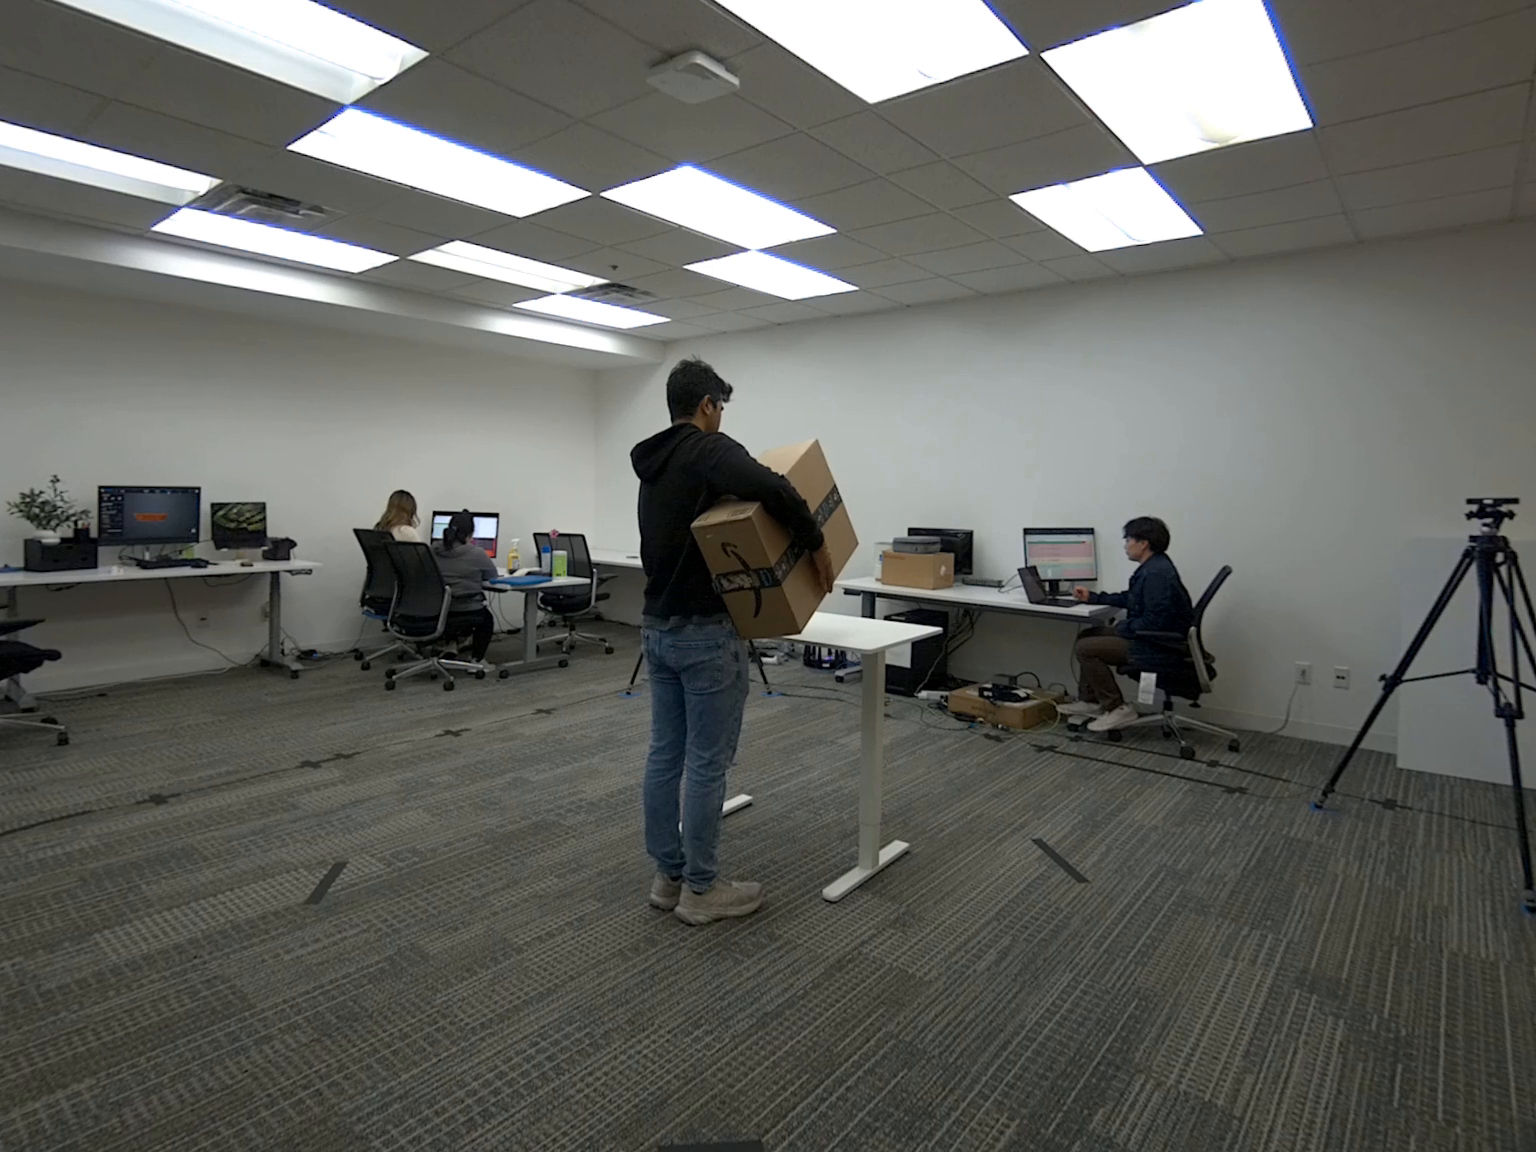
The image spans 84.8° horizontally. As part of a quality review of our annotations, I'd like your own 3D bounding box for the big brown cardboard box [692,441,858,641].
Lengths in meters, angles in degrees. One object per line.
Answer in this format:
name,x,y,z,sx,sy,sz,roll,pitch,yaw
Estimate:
big brown cardboard box,0.037,-0.123,2.736,0.239,0.407,0.589,-10,25,34
